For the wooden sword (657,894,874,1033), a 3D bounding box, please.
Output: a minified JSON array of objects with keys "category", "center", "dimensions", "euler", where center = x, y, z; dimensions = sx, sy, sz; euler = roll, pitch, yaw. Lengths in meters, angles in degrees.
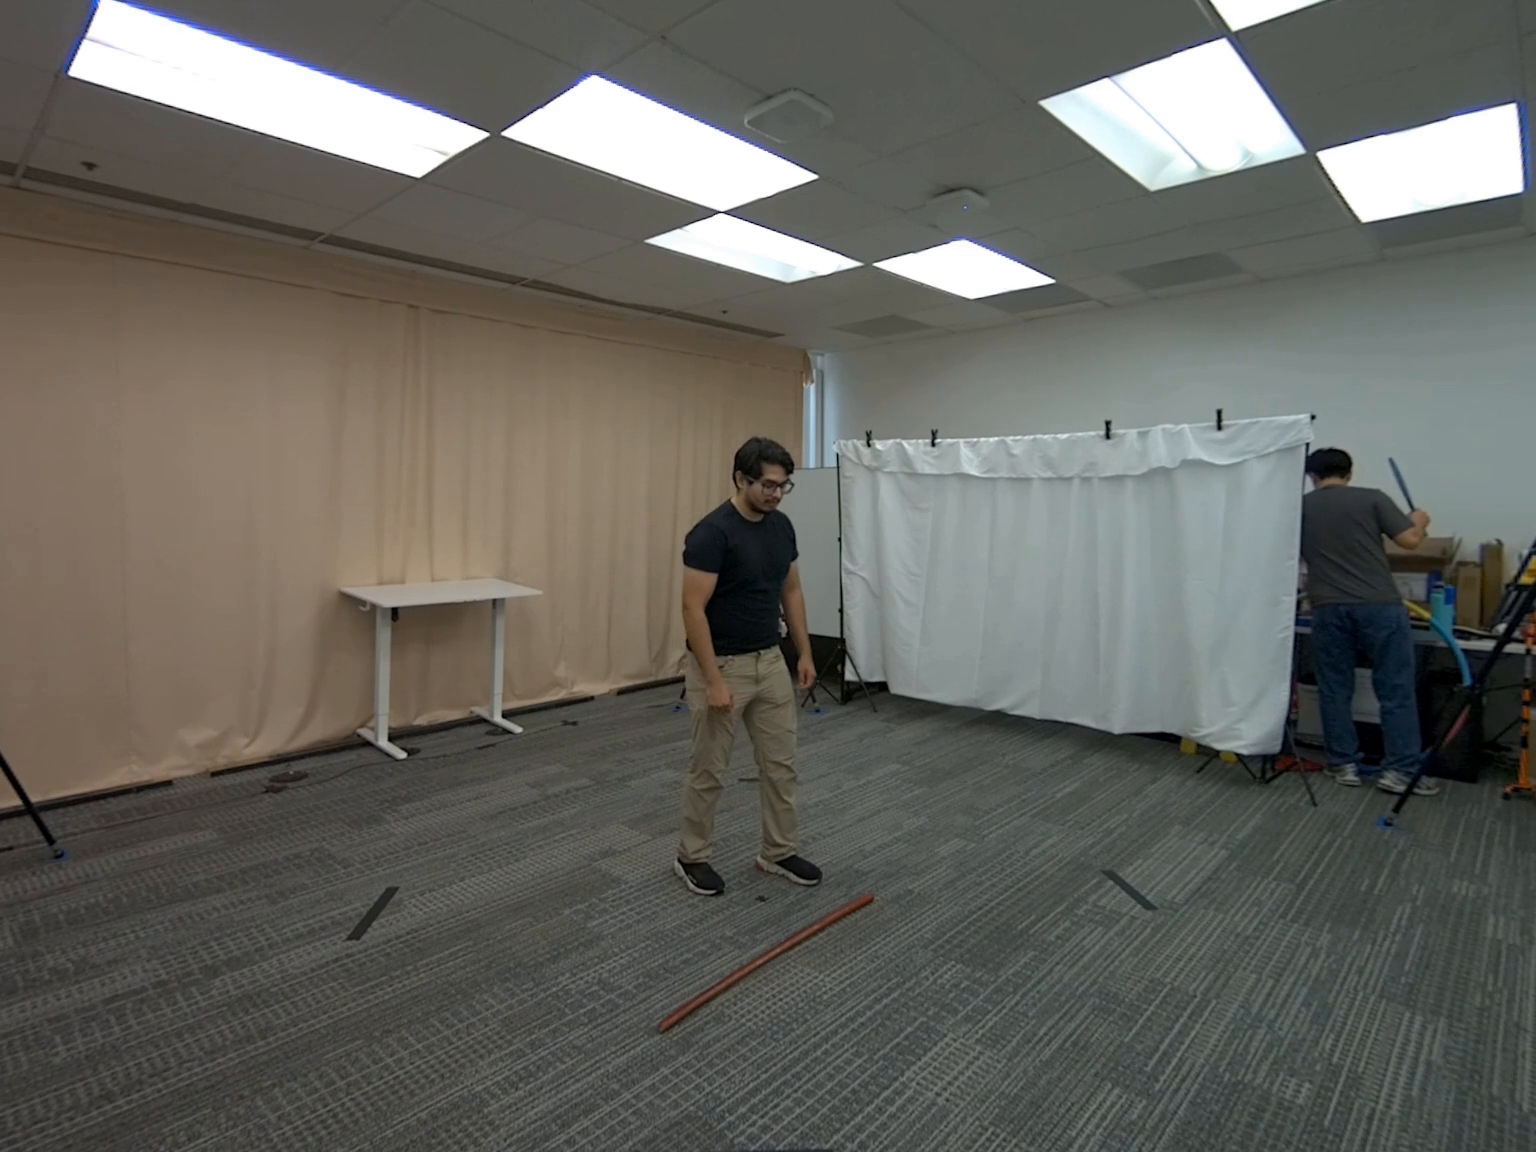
[{"category":"wooden sword","center":[0.028,1.152,2.613],"dimensions":[0.053,0.024,0.994],"euler":[15,14,40]}]
